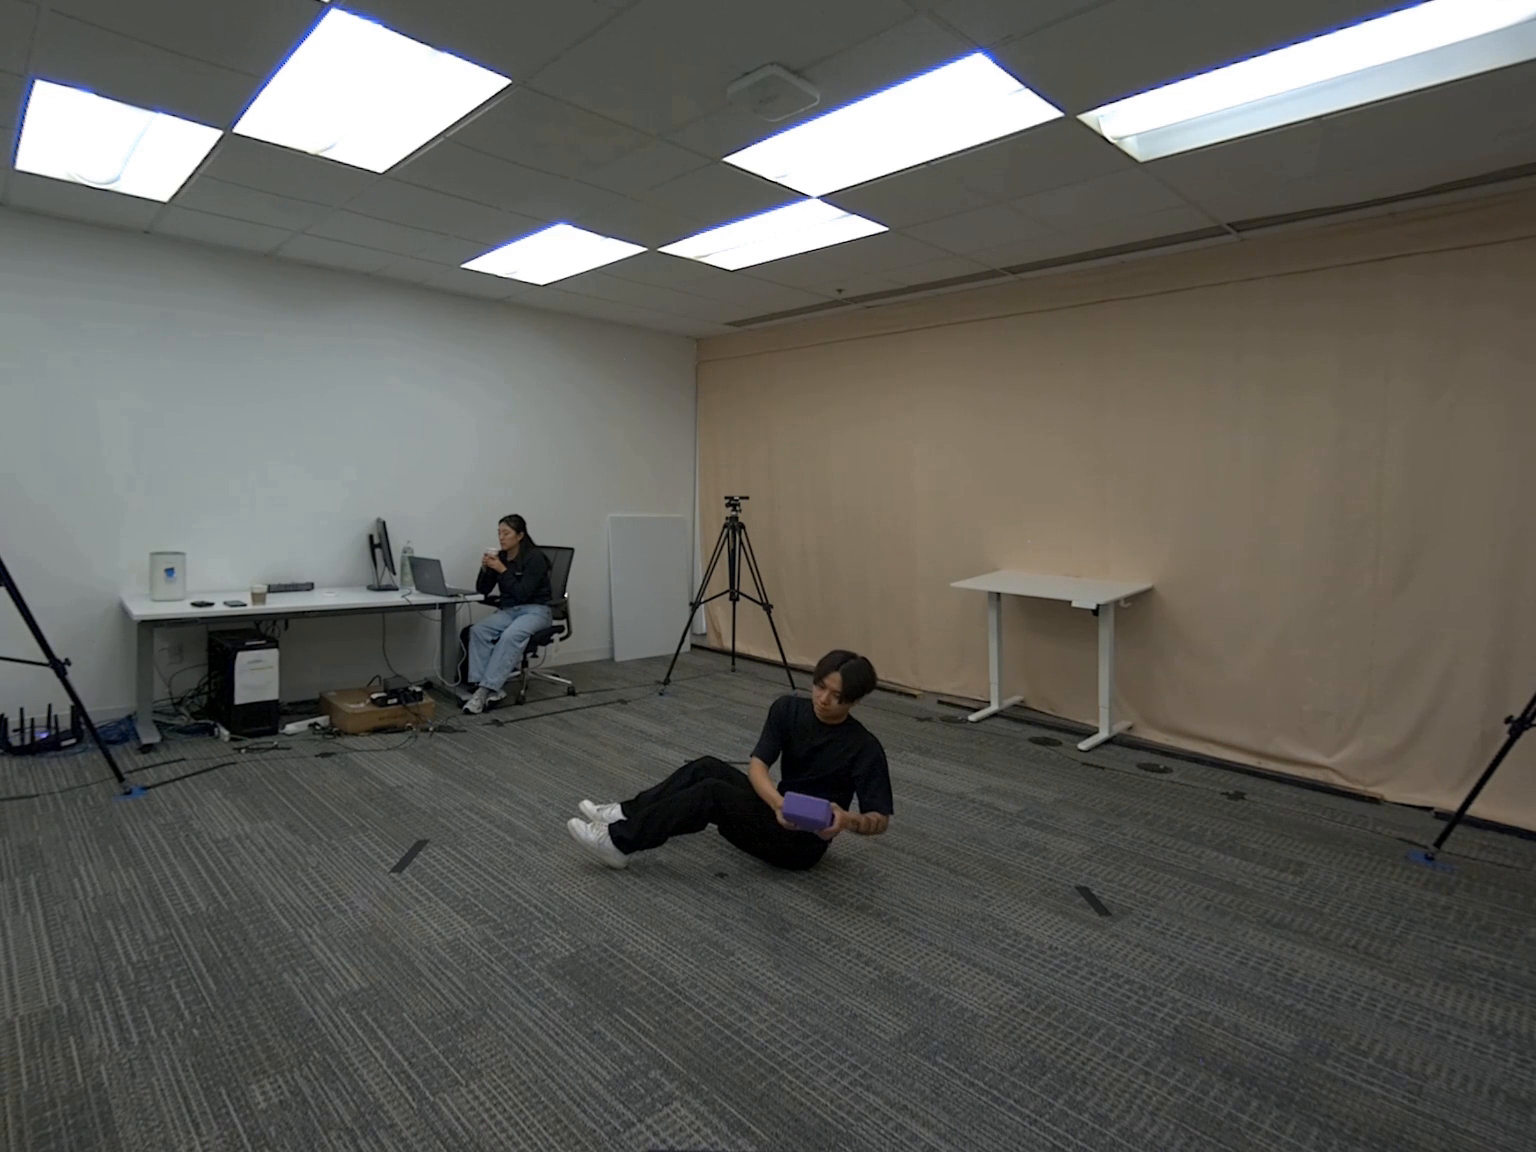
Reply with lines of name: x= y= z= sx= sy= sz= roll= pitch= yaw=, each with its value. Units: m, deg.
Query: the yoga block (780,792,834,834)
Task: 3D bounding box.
yoga block: x=0.124 y=0.790 z=2.798 sx=0.151 sy=0.077 sz=0.224 roll=7 pitch=-23 yaw=14
